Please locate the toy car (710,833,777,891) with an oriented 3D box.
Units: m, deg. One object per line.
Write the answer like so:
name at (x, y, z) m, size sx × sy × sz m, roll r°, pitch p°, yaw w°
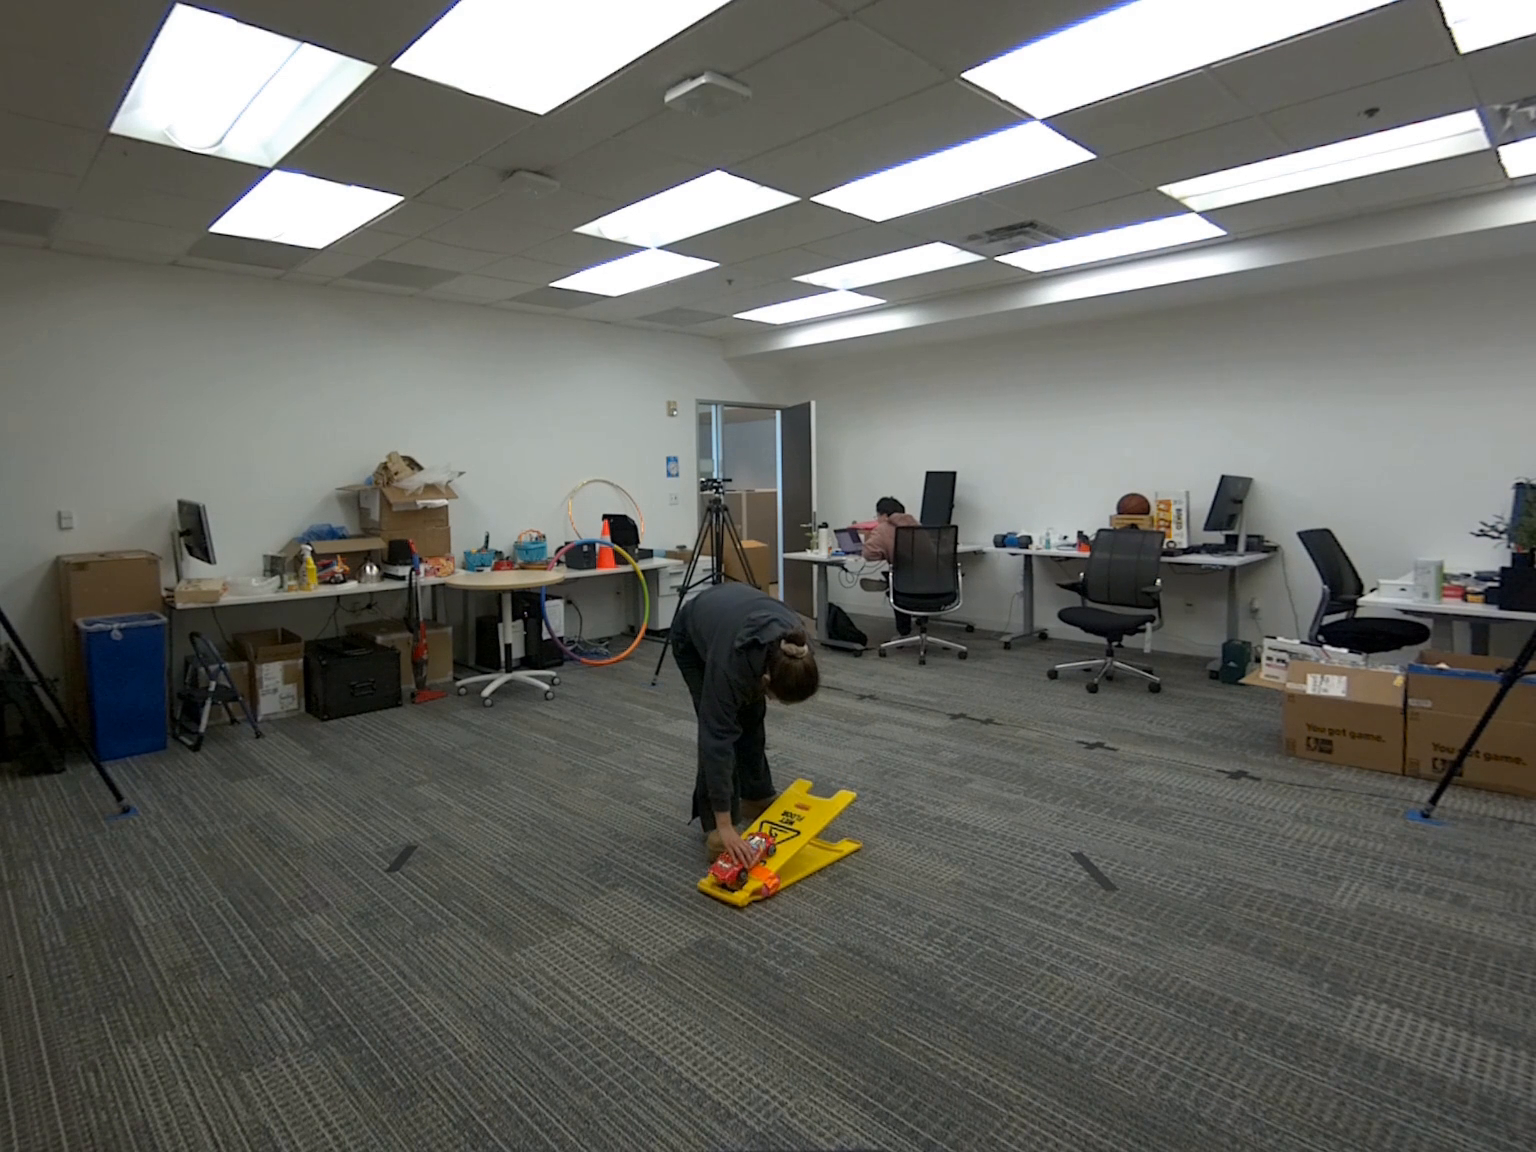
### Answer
toy car at (-0.096, 0.974, 2.900) m, size 0.249 × 0.082 × 0.134 m, roll -17°, pitch 15°, yaw -39°
